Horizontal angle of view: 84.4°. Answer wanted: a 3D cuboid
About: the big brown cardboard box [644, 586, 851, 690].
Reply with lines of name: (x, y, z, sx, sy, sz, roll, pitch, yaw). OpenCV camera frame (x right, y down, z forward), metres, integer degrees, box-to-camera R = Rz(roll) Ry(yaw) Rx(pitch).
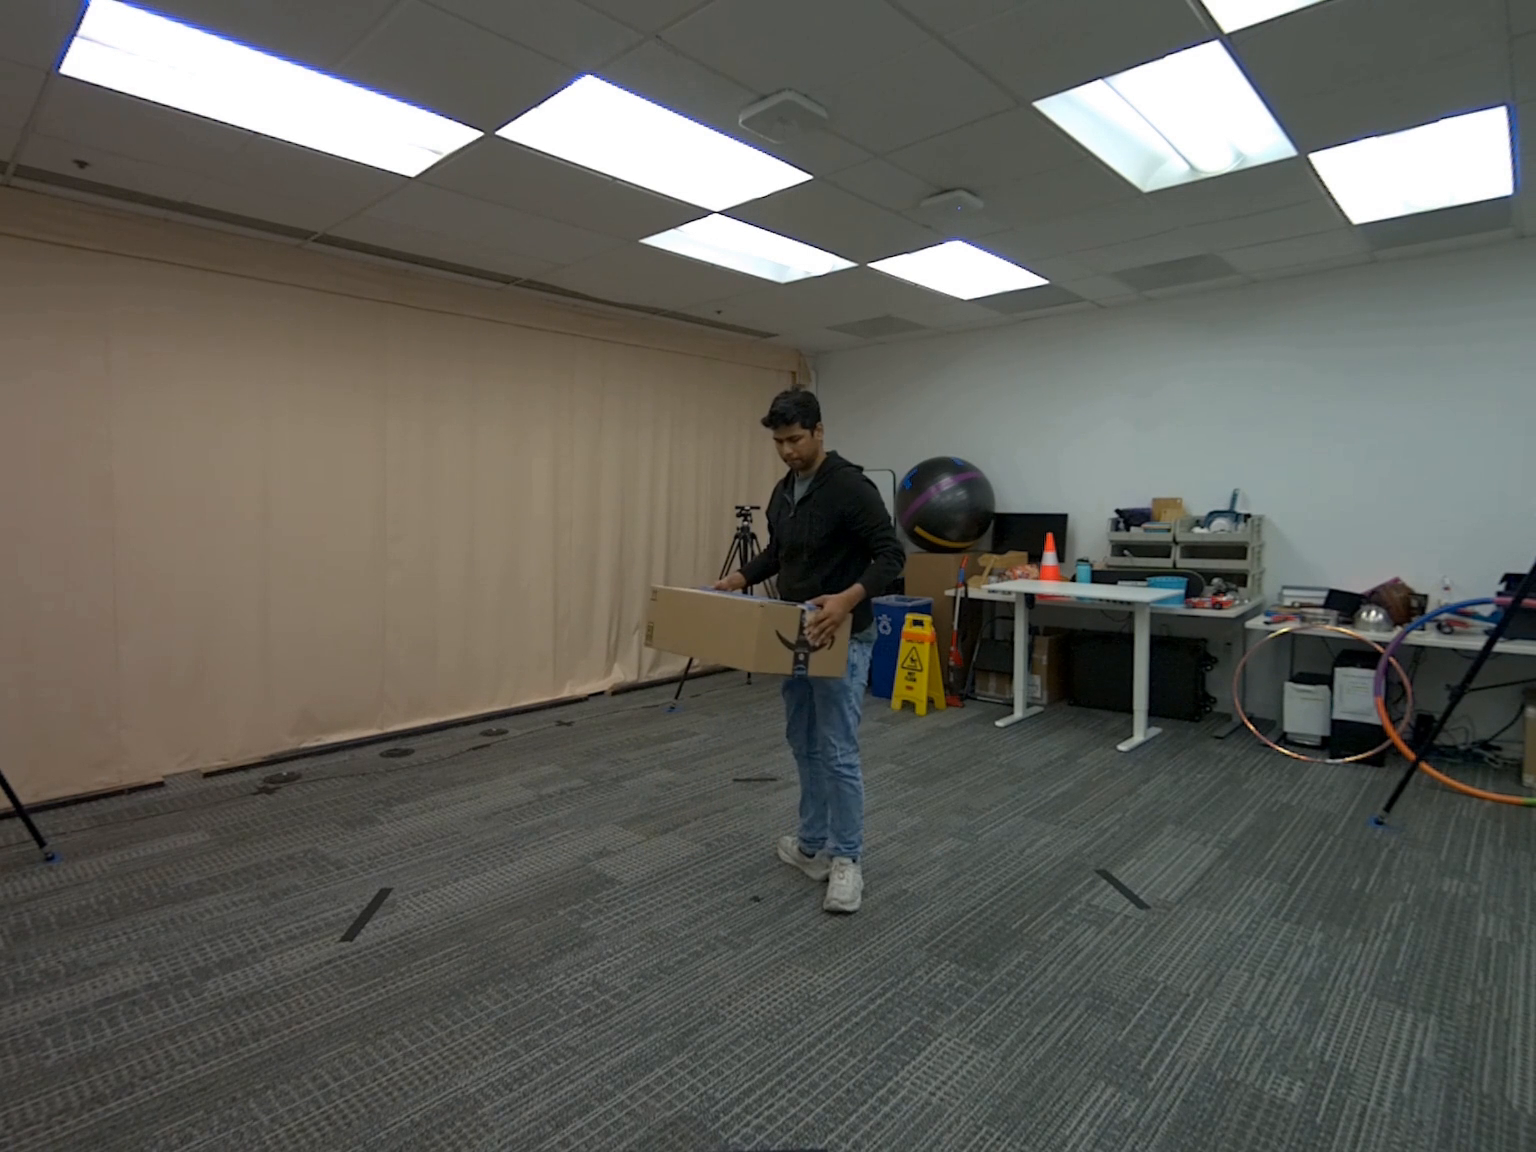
big brown cardboard box: (-0.078, 0.178, 2.857, 0.403, 0.233, 0.609, 8, 0, -42)
